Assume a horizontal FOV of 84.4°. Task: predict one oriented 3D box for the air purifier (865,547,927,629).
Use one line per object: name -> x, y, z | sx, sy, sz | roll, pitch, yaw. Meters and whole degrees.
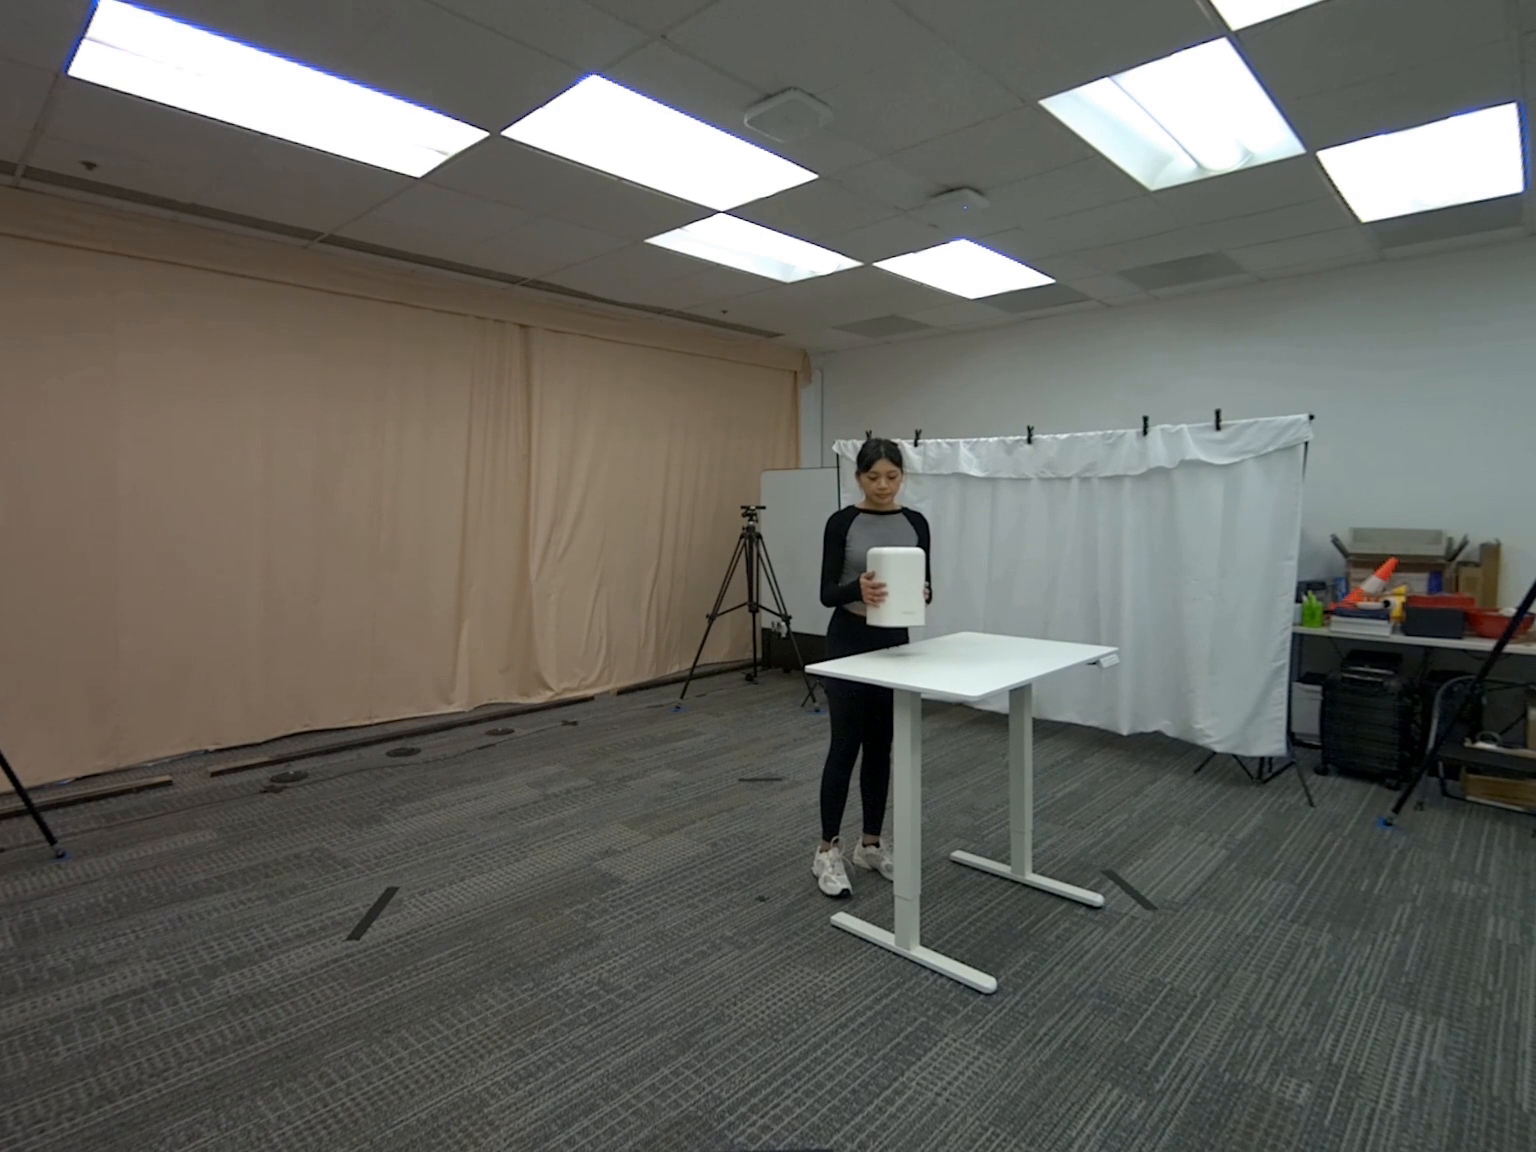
air purifier -> 0.435, 0.034, 2.866 | 0.168, 0.265, 0.174 | 1, 0, -16
